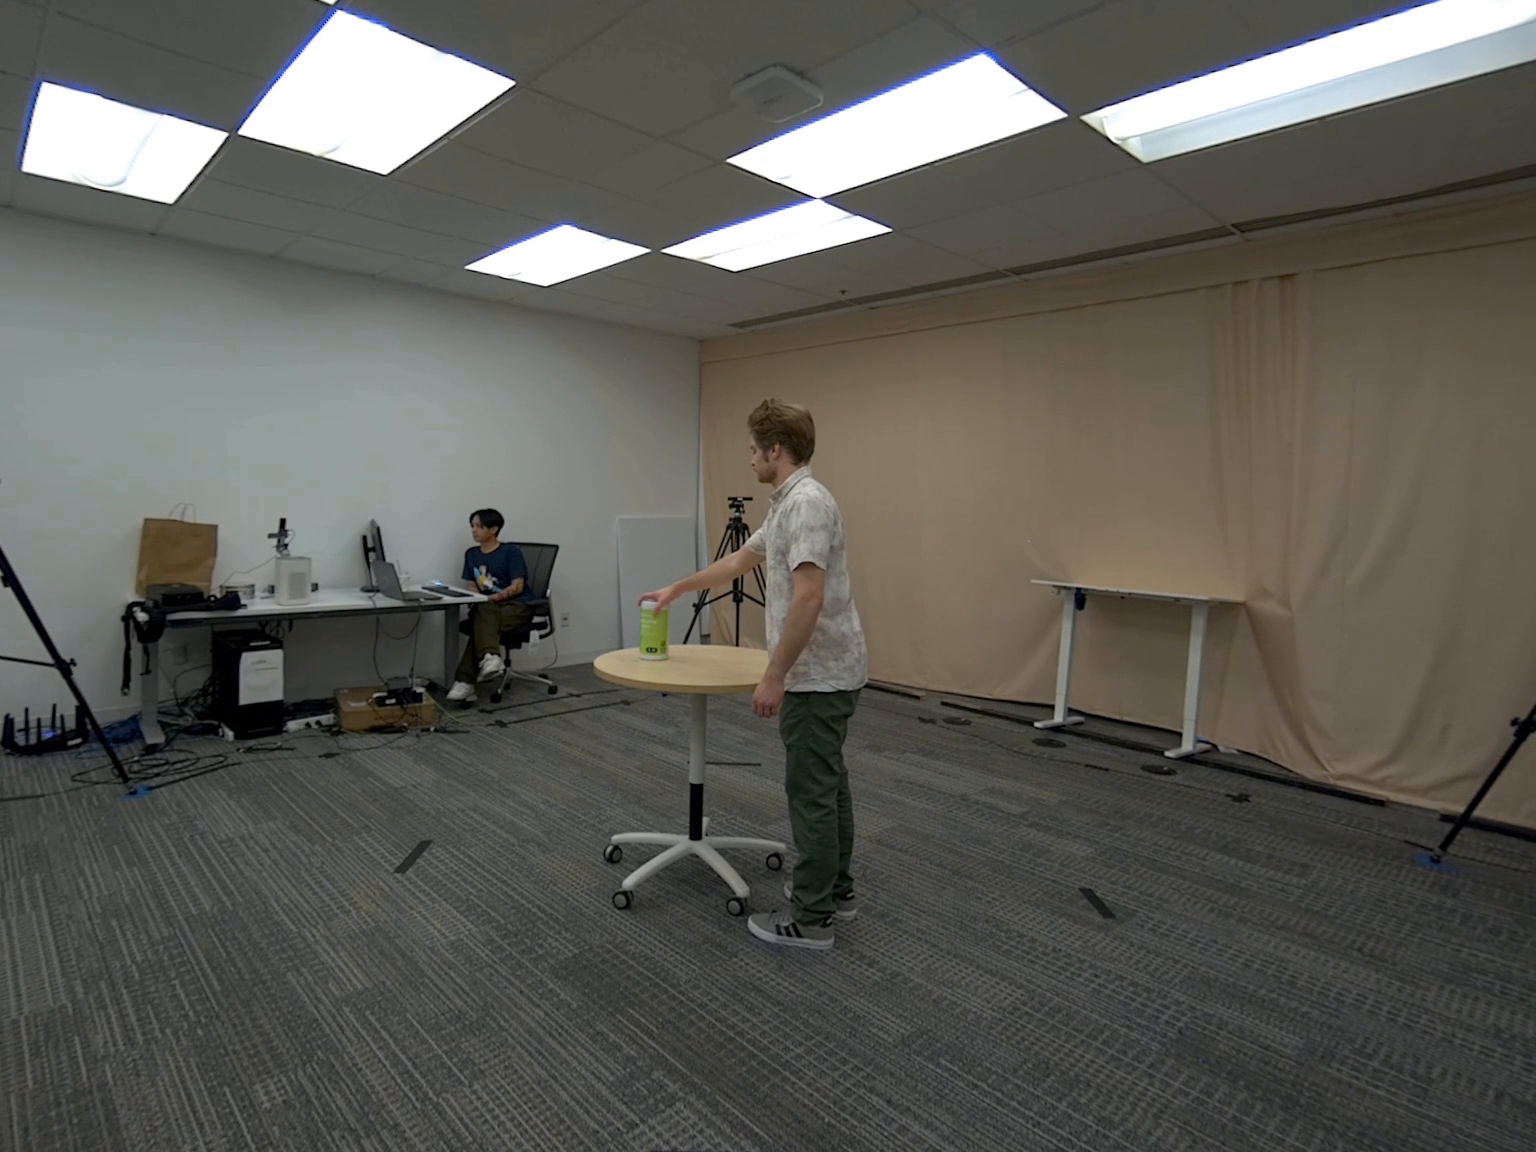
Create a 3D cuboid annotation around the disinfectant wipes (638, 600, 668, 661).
[{"bbox_3d":[-0.424,0.197,3.121,0.118,0.217,0.118,4,3,-2],"label":"disinfectant wipes"}]
